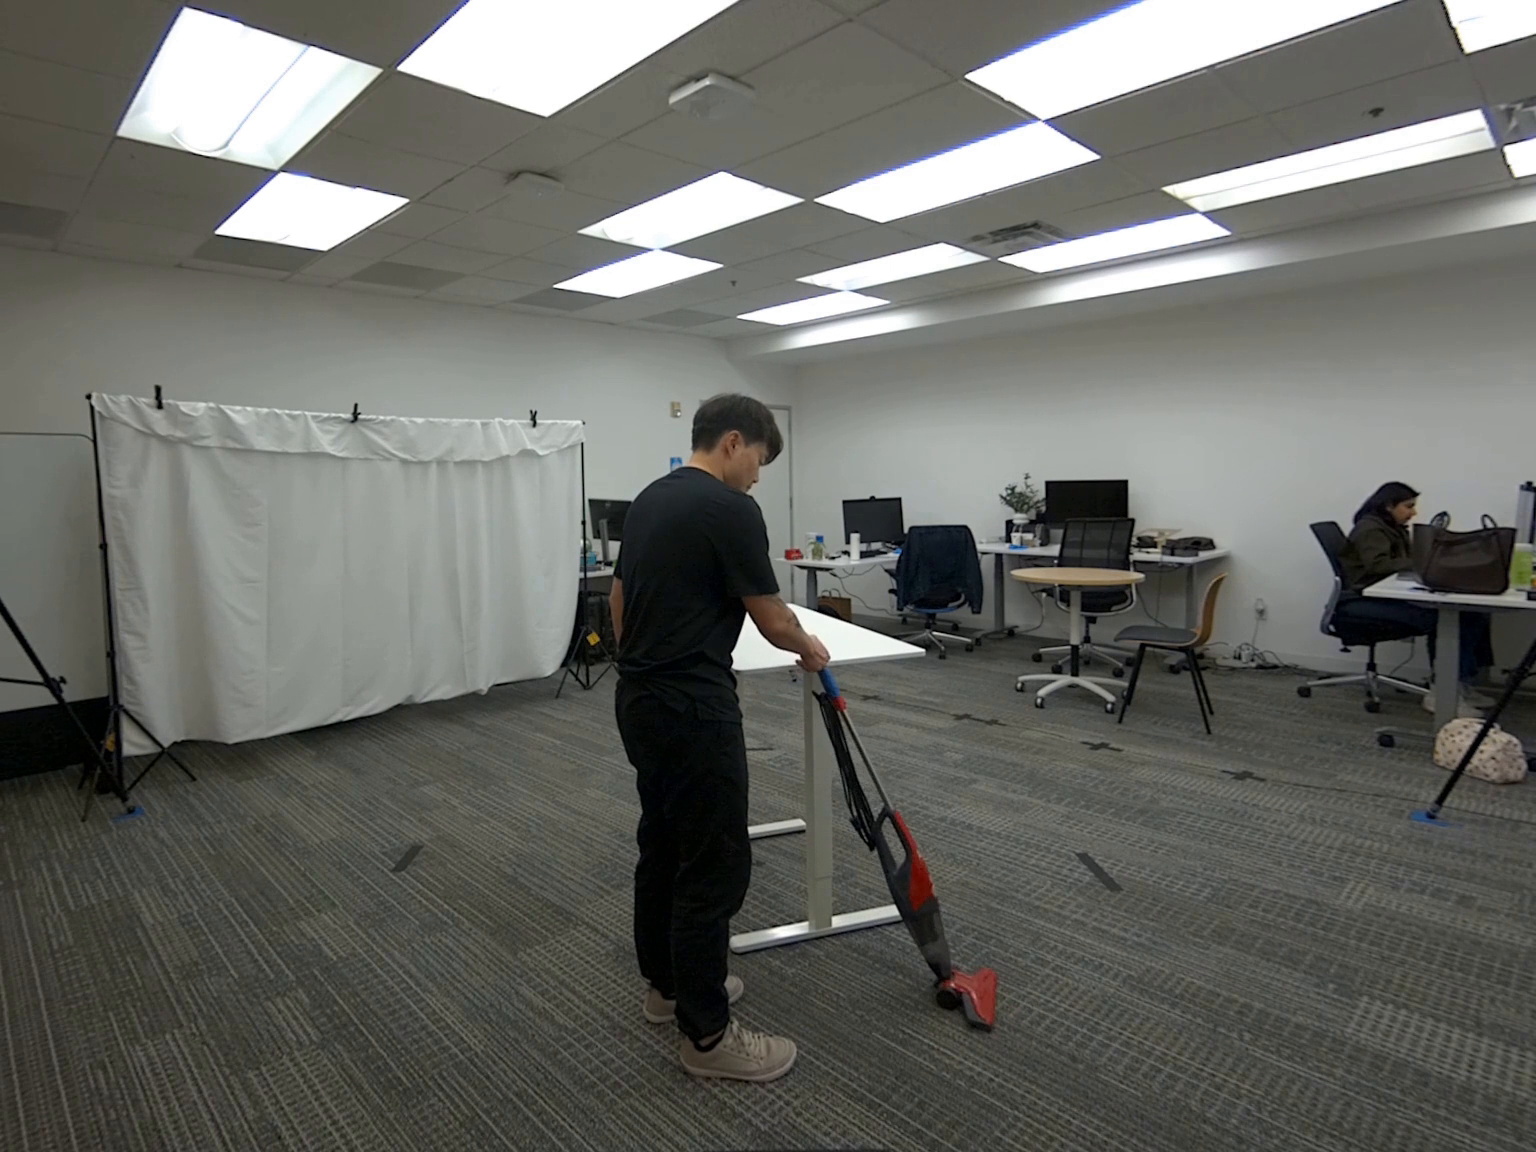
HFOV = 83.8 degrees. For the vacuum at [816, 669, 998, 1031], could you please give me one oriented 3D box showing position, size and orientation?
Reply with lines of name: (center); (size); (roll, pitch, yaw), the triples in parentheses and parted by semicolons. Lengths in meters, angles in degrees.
vacuum: (0.312, 0.659, 2.337); (0.145, 1.059, 0.248); (-27, -7, 17)
